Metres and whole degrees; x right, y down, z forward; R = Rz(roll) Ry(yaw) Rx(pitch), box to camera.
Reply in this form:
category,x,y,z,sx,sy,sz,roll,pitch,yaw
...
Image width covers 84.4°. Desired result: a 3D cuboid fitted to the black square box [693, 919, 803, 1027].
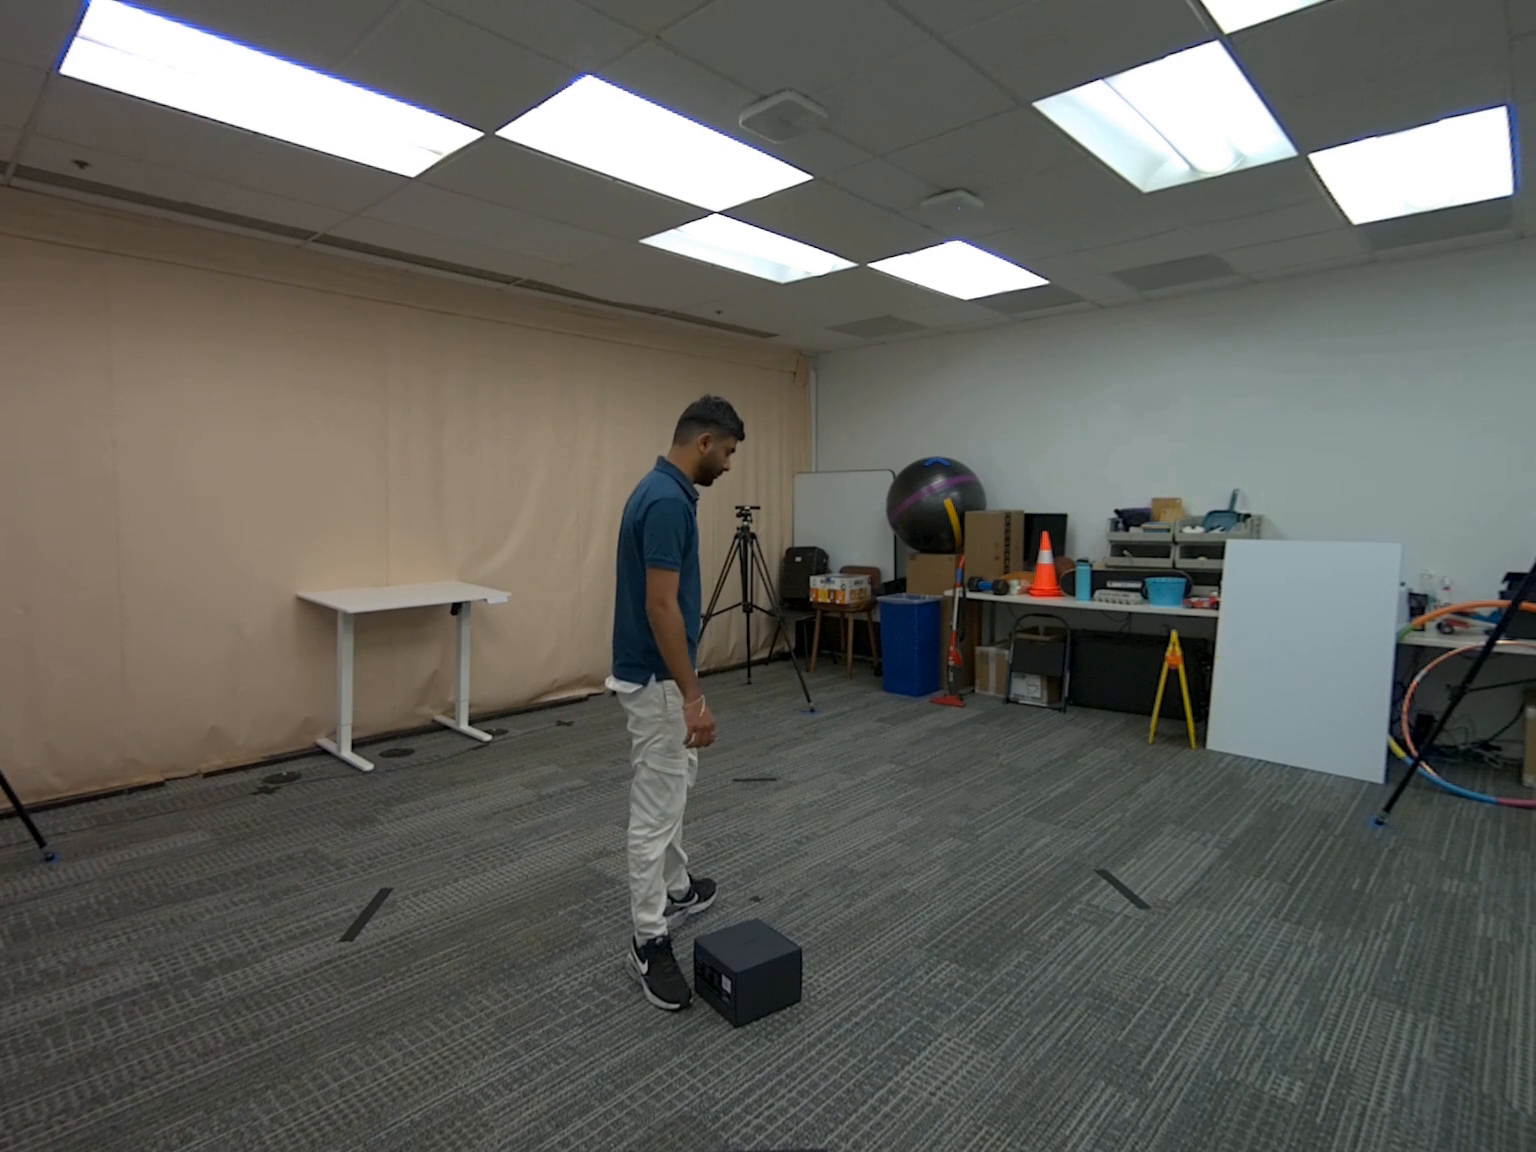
category,x,y,z,sx,sy,sz,roll,pitch,yaw
black square box,-0.055,1.113,2.380,0.221,0.155,0.224,-3,5,-36
